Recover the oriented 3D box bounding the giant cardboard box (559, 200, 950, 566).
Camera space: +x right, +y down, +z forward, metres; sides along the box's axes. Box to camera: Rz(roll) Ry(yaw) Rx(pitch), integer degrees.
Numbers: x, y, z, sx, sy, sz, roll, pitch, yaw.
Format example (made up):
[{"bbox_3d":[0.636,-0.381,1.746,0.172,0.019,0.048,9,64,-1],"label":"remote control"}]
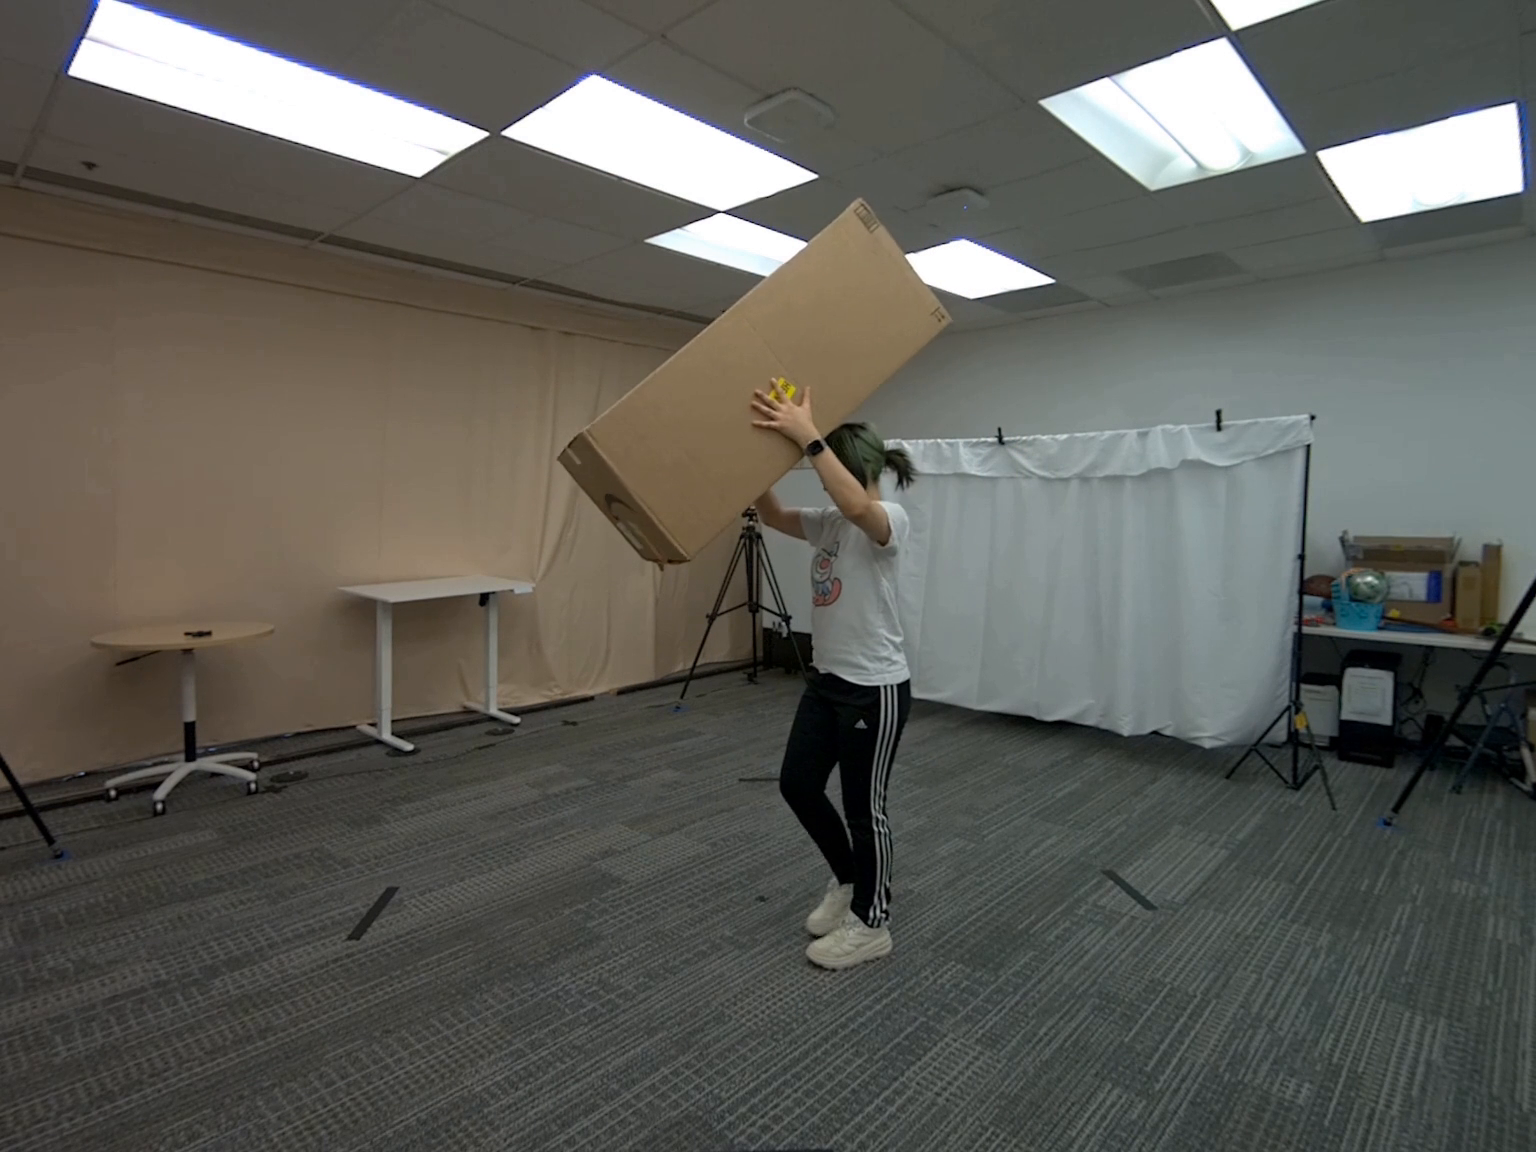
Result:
[{"bbox_3d":[-0.068,-0.529,2.480,1.022,0.440,0.596,-44,15,-13],"label":"giant cardboard box"}]
